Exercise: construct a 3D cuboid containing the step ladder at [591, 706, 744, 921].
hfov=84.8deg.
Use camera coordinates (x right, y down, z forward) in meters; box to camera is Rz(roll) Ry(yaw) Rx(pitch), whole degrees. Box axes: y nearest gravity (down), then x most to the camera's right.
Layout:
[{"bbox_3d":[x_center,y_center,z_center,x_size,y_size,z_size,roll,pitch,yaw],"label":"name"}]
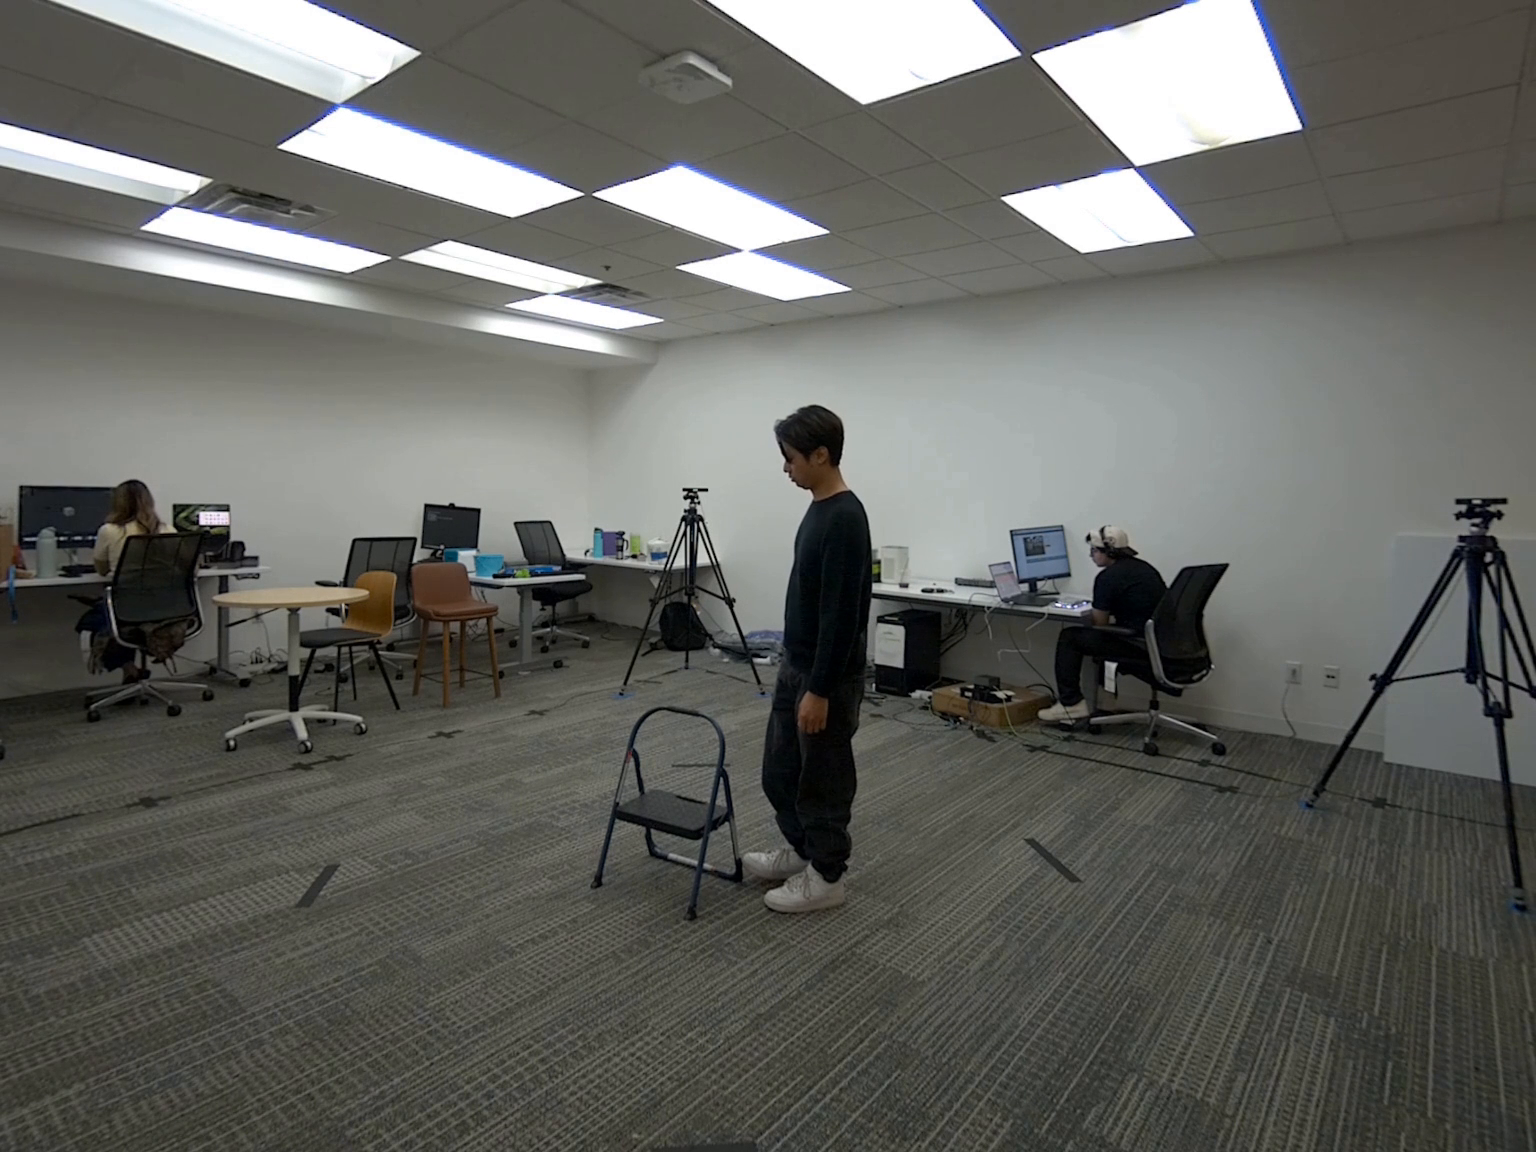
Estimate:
[{"bbox_3d":[-0.353,0.777,2.973,0.443,0.604,0.340,4,4,31],"label":"step ladder"}]
